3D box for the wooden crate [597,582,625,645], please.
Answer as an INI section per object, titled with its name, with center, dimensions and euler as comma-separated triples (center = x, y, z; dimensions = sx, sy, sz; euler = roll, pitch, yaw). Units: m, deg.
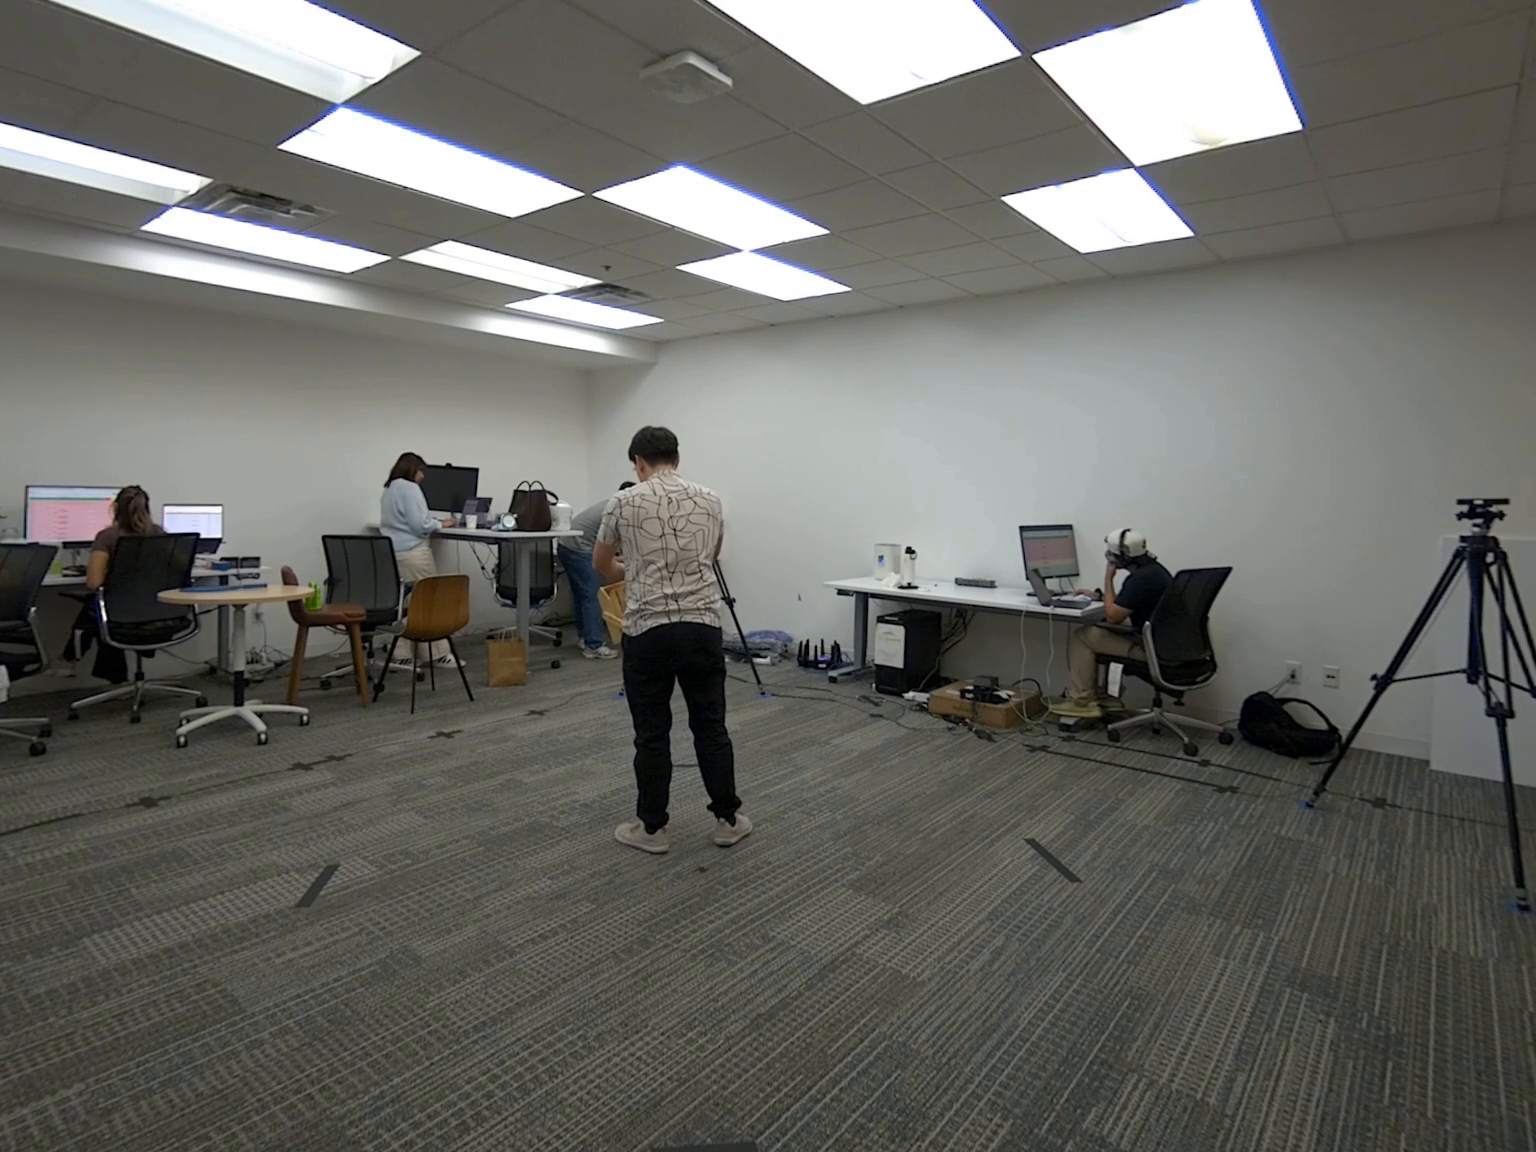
[wooden crate]
center = -0.524, 0.137, 3.696
dimensions = 0.317, 0.304, 0.277
euler = -16, -5, -37
